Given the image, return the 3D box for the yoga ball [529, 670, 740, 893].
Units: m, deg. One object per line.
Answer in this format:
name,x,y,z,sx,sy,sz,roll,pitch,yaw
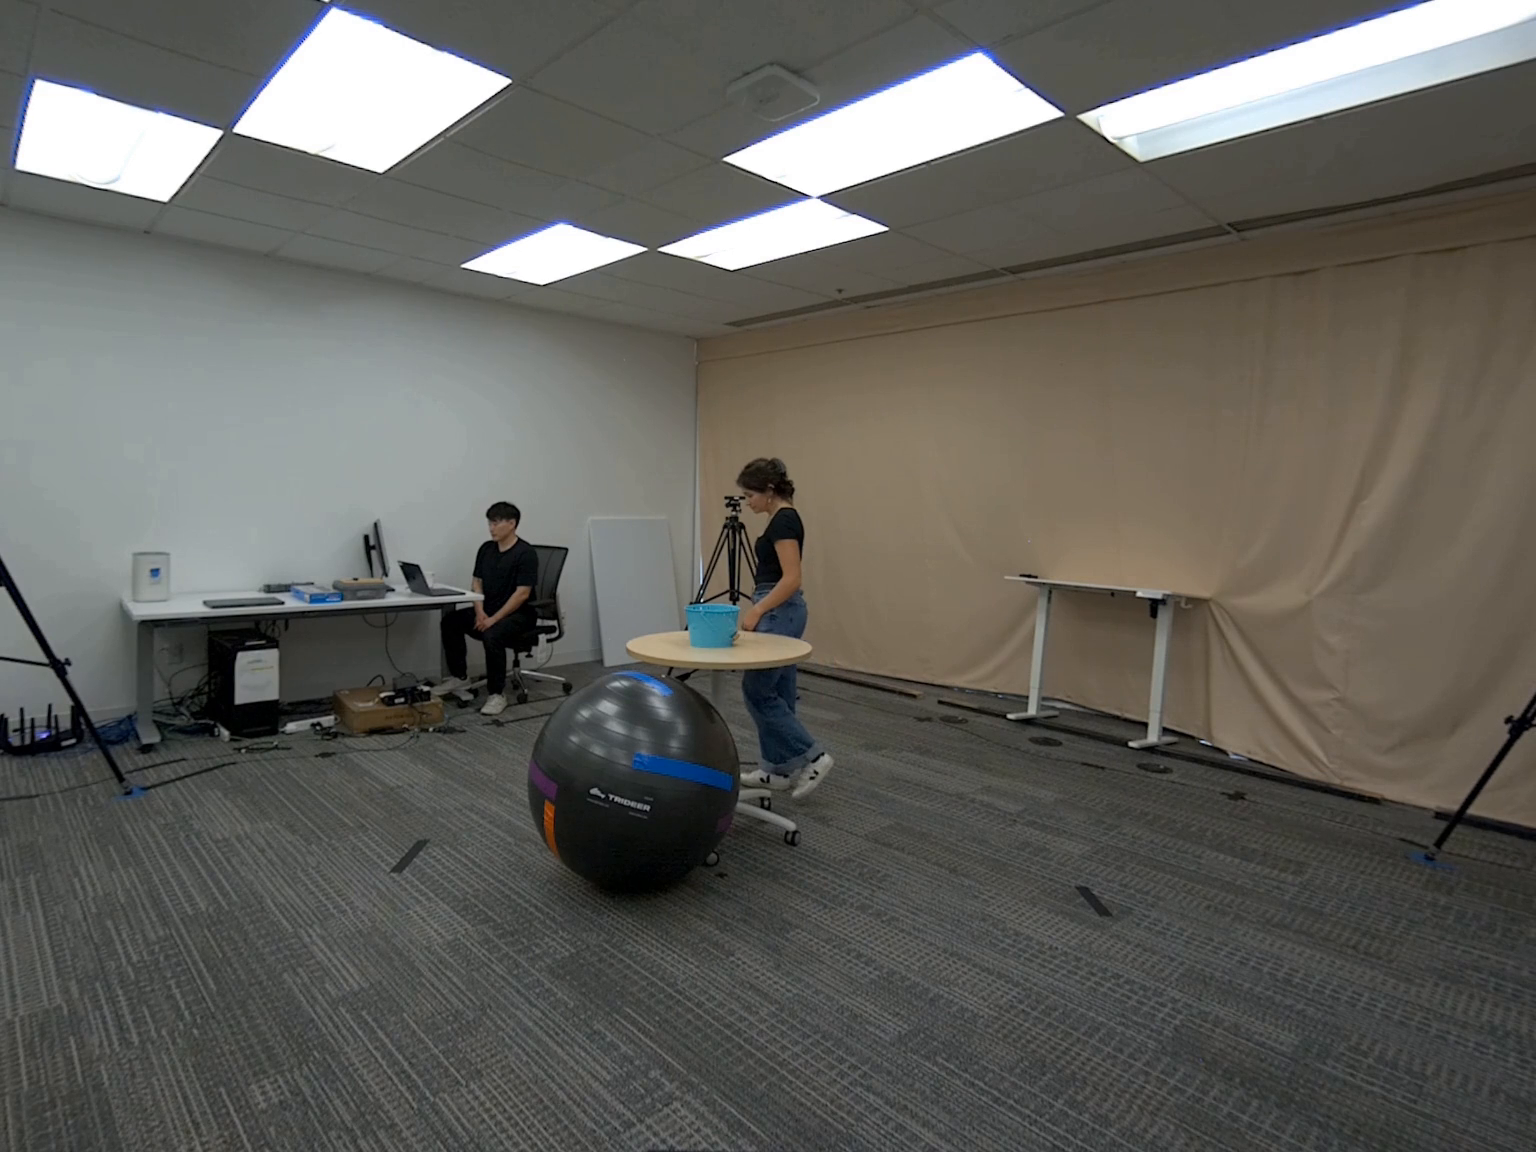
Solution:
yoga ball,-0.481,0.735,3.035,0.757,0.756,0.761,1,4,-1
